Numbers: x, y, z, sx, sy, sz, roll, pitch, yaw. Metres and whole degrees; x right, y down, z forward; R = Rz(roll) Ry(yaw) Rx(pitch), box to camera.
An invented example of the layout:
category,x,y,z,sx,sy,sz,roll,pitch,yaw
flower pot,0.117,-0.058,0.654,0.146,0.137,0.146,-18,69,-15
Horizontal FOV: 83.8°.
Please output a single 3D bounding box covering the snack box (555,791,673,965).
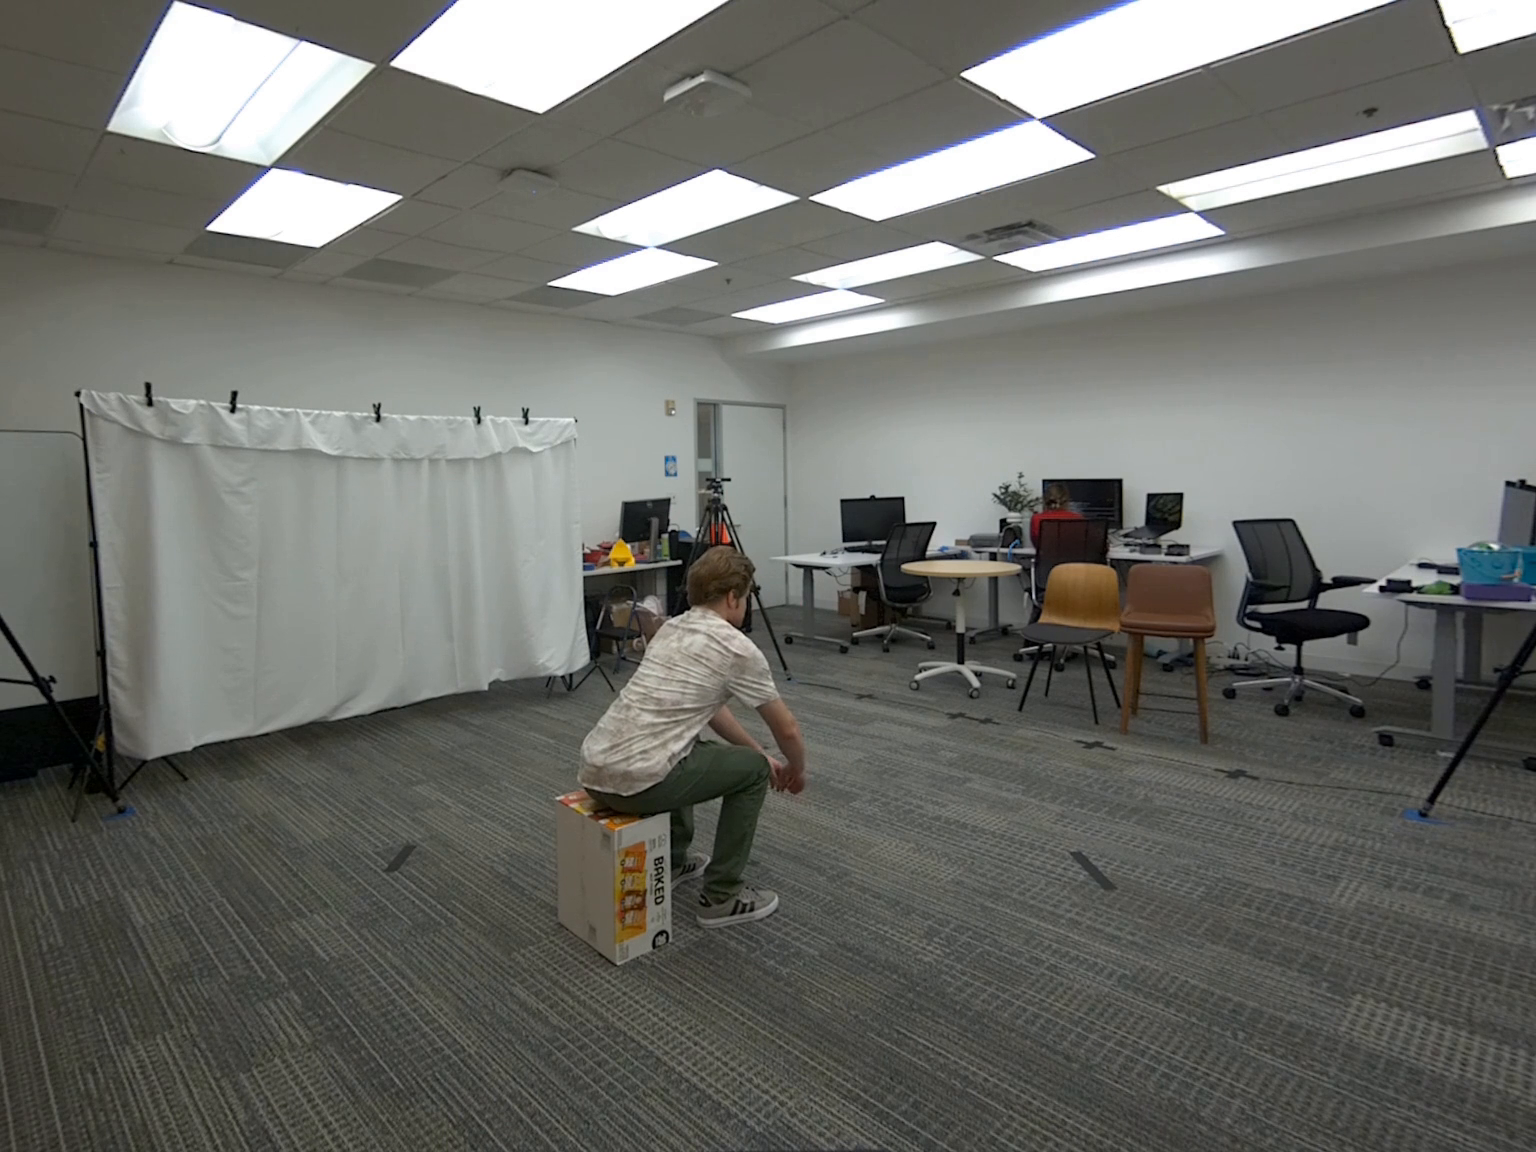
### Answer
category,x,y,z,sx,sy,sz,roll,pitch,yaw
snack box,-0.479,0.905,2.638,0.200,0.403,0.351,-4,6,-42
